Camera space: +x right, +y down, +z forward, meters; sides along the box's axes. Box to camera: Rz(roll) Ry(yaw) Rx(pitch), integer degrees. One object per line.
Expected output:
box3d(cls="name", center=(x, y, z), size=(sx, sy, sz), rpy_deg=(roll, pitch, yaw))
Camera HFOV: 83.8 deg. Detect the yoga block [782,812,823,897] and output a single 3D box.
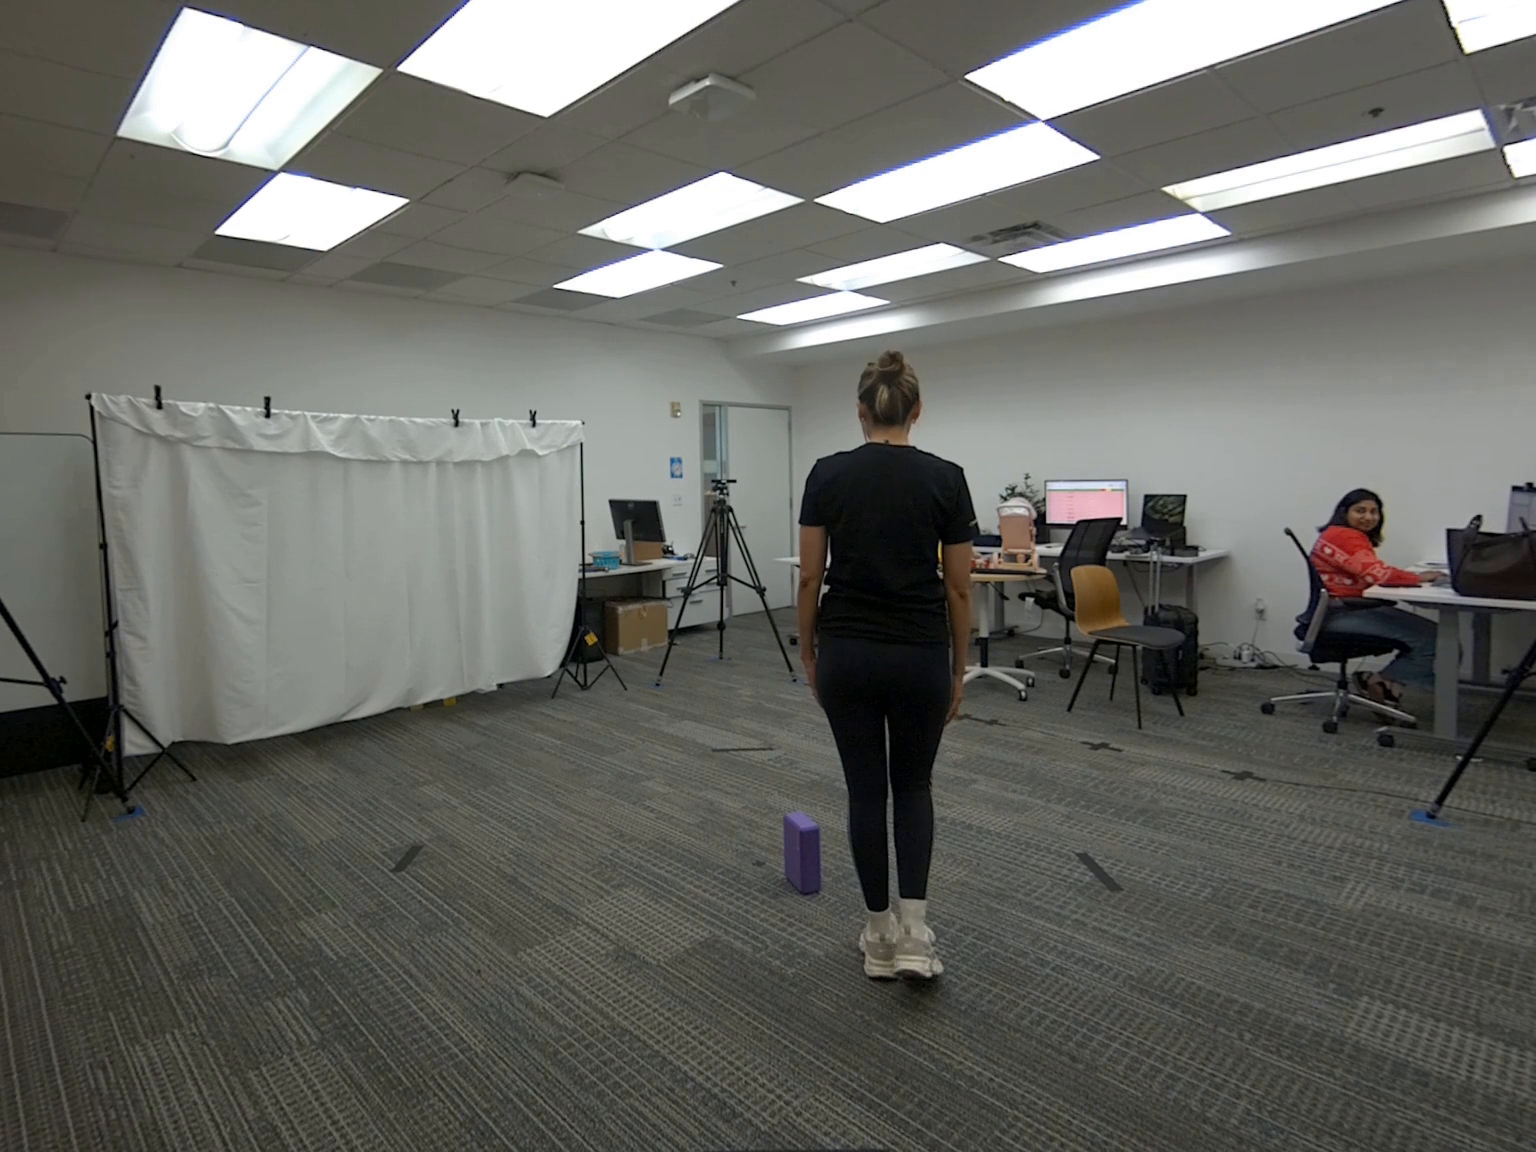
box3d(cls="yoga block", center=(0.123, 0.944, 2.931), size=(0.075, 0.228, 0.152), rpy_deg=(-2, 4, -24))
